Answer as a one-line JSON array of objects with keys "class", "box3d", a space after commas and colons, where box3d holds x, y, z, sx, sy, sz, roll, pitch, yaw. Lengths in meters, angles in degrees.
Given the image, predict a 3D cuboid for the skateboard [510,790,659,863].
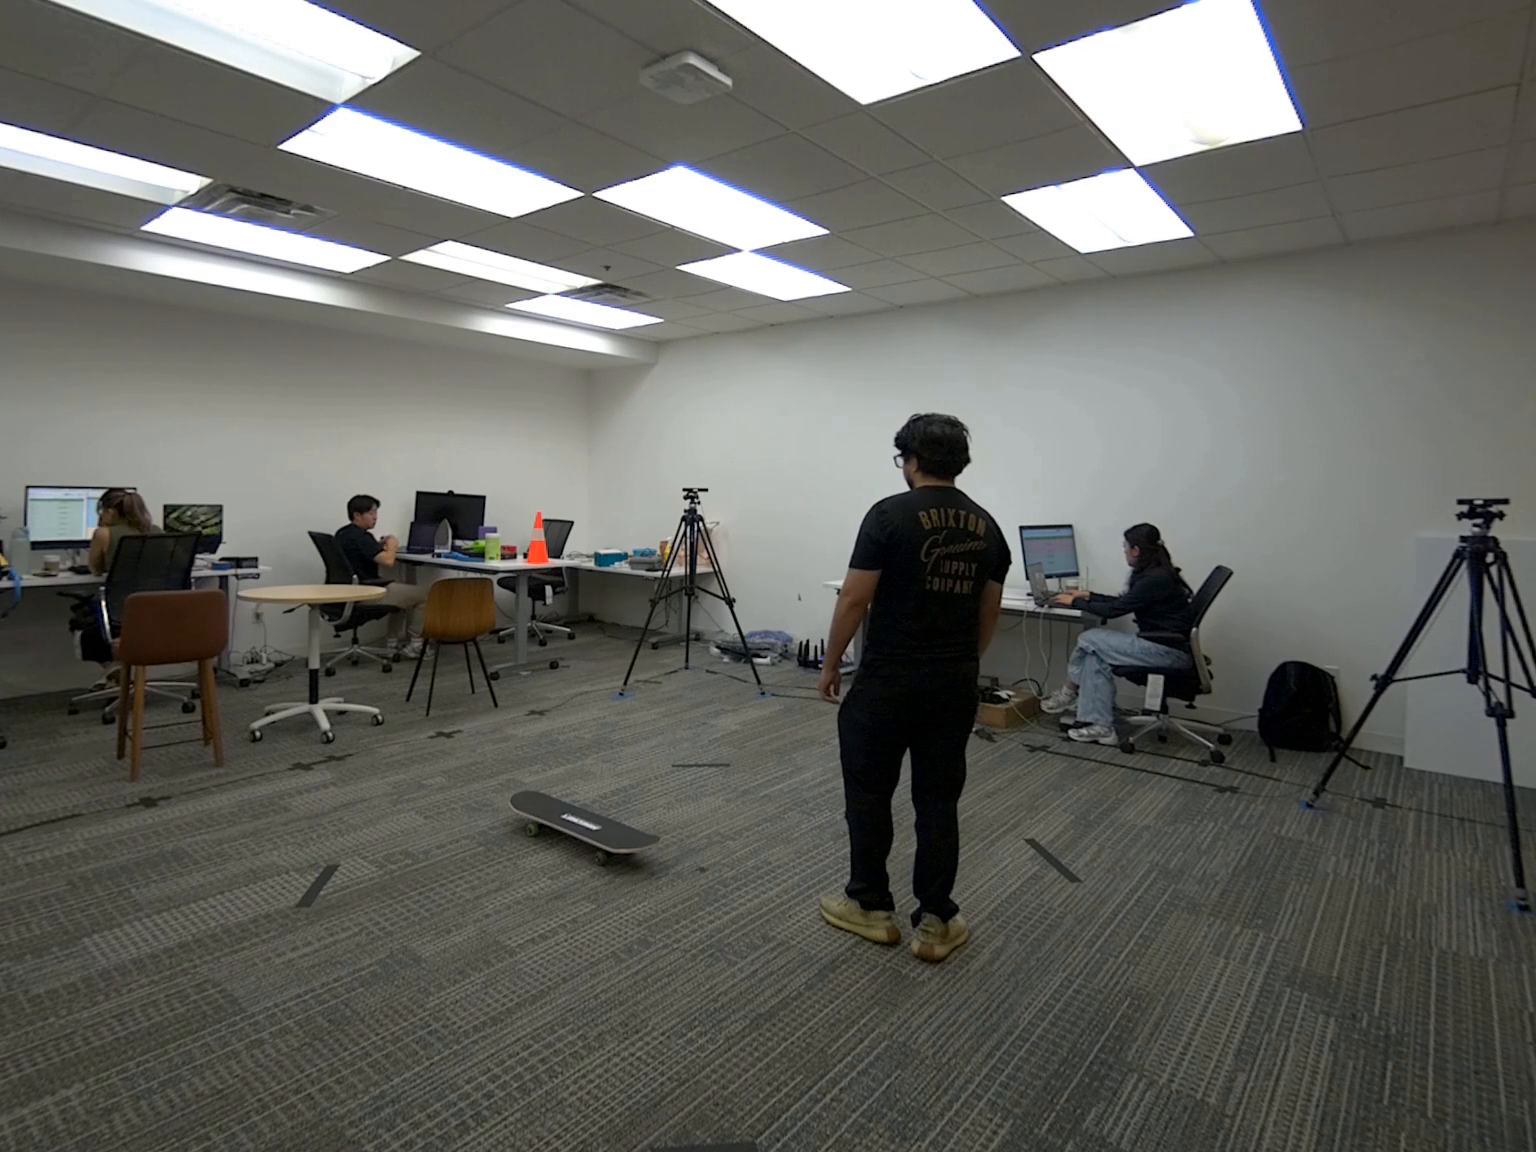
[{"class": "skateboard", "box3d": [-0.740, 0.984, 3.310, 0.812, 0.110, 0.188, 5, 6, 38]}]
